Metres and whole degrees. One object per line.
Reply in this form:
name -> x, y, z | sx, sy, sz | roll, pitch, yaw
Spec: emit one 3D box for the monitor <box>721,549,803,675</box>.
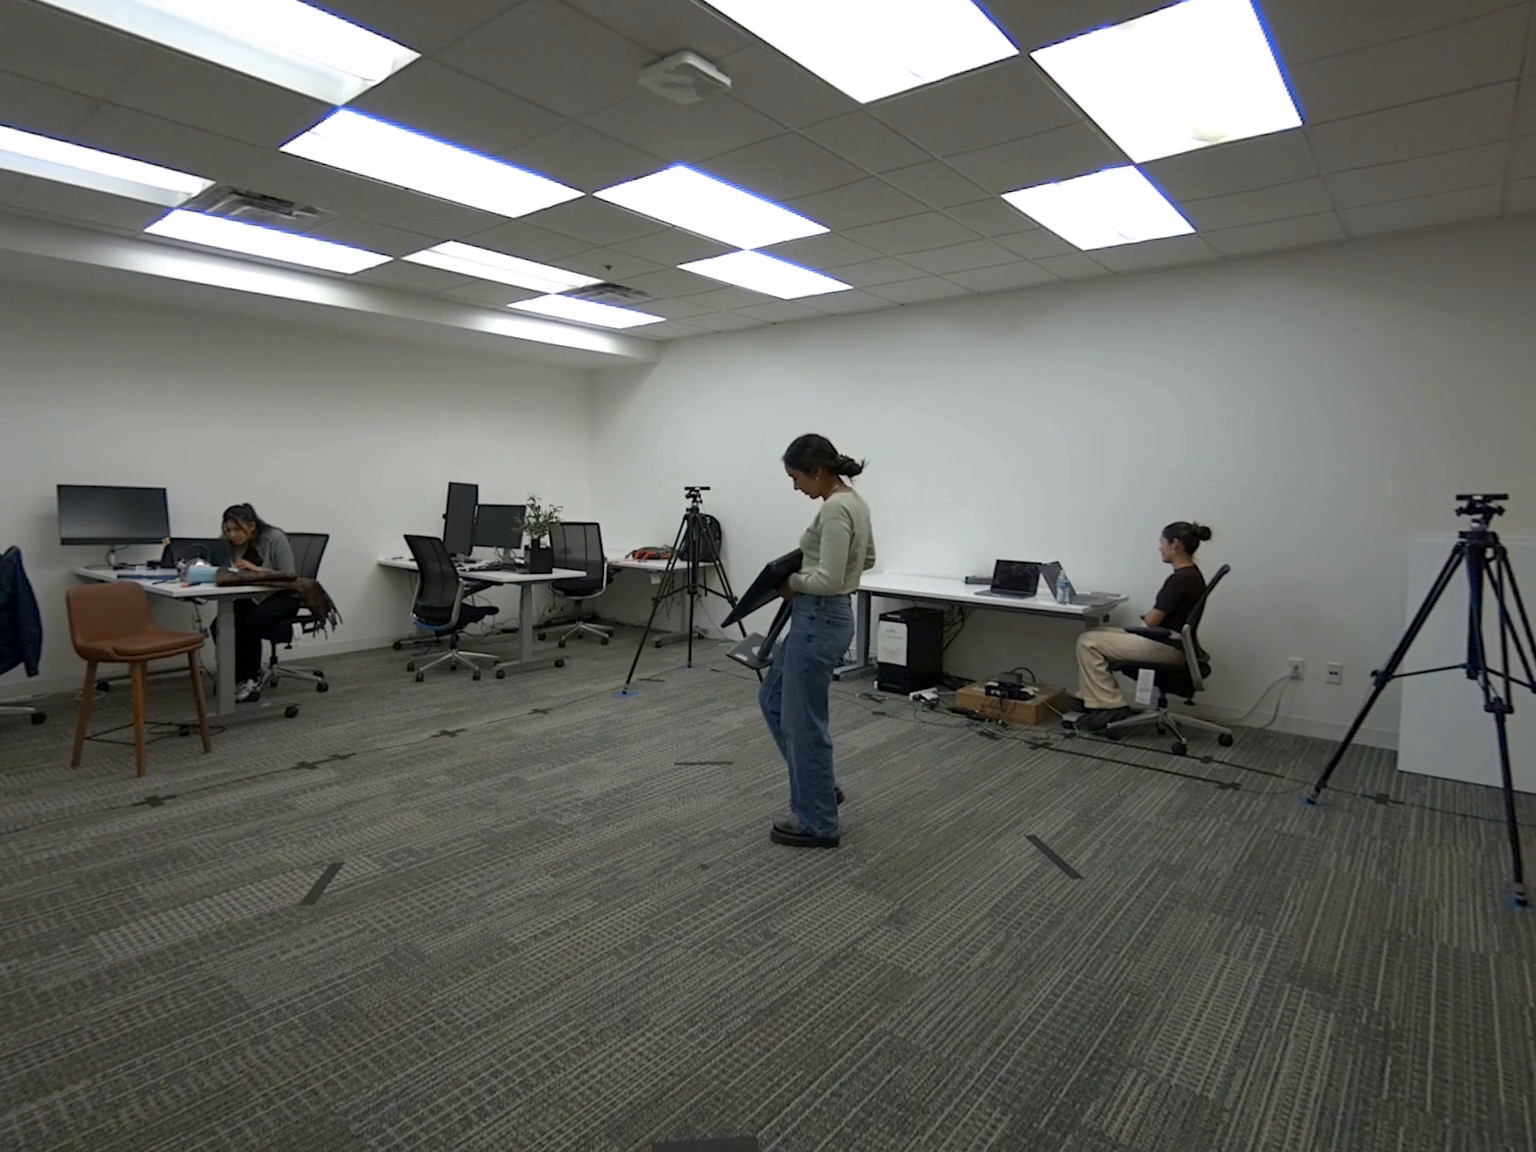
monitor -> 0.017, 0.098, 3.461 | 0.180, 0.509, 0.522 | 24, 25, 21
